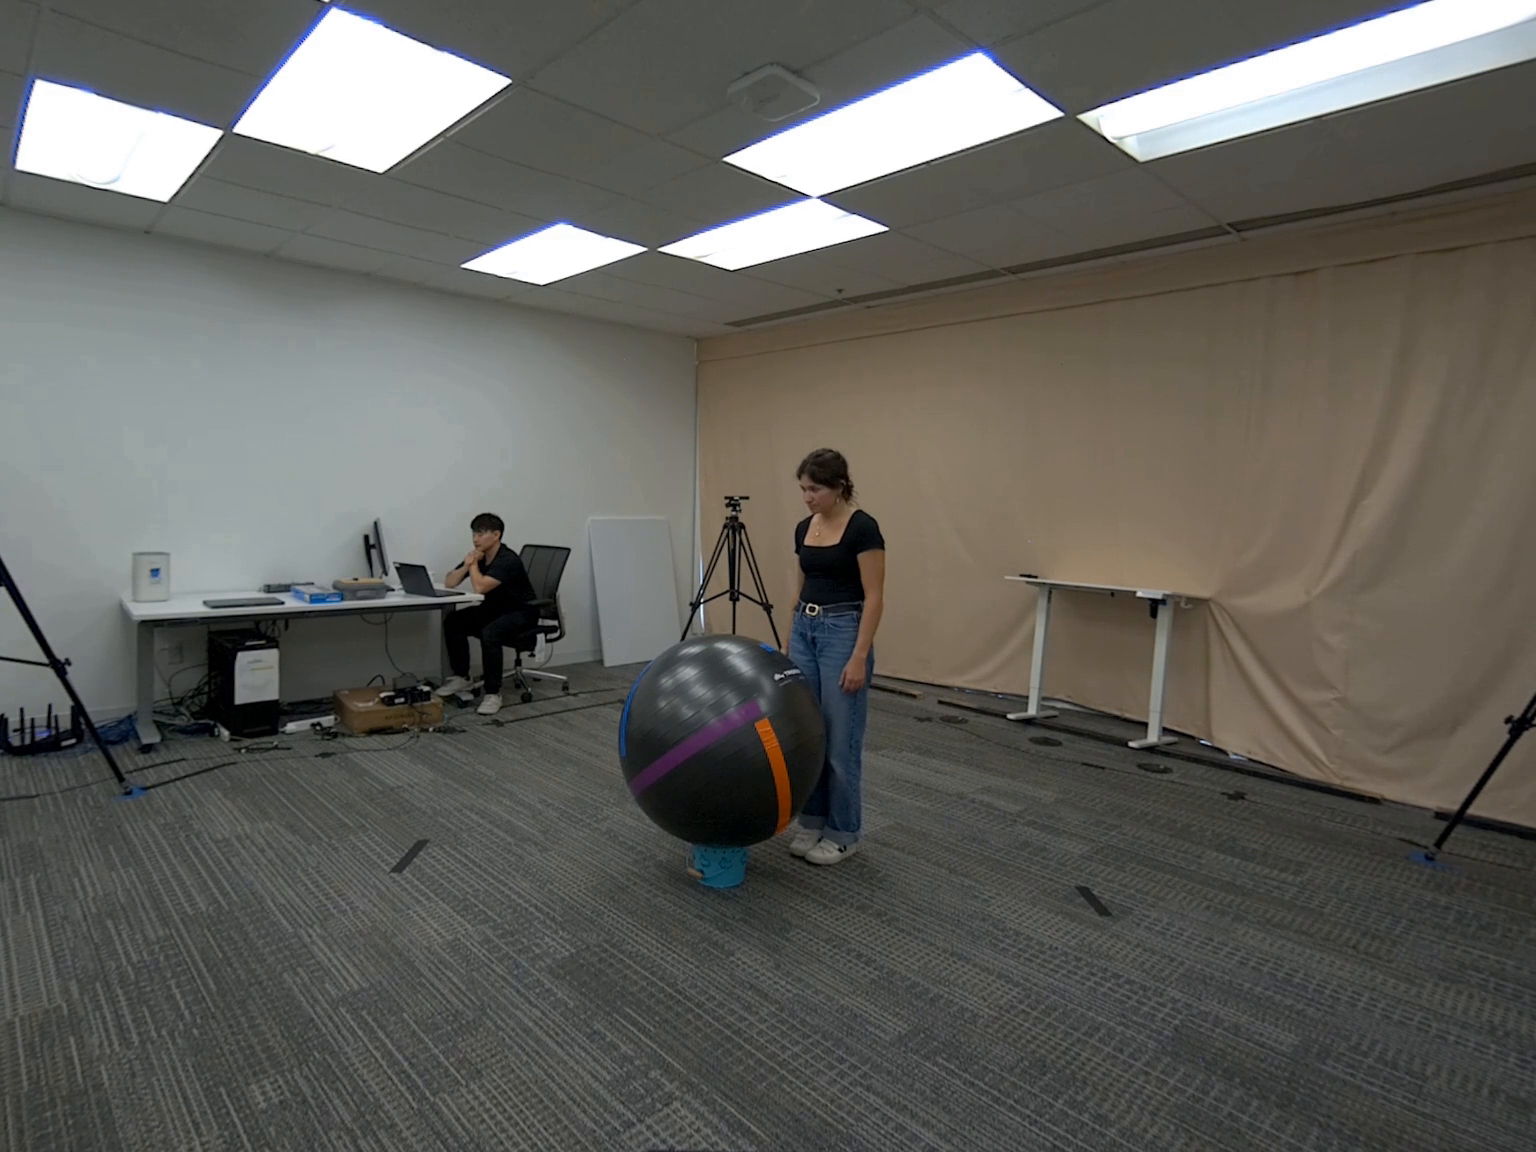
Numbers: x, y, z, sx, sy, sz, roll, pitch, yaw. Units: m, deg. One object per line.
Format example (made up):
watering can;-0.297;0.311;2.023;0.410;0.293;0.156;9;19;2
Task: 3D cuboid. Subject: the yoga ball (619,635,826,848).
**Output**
yoga ball;-0.173;0.594;3.066;0.757;0.756;0.761;1;4;-1
